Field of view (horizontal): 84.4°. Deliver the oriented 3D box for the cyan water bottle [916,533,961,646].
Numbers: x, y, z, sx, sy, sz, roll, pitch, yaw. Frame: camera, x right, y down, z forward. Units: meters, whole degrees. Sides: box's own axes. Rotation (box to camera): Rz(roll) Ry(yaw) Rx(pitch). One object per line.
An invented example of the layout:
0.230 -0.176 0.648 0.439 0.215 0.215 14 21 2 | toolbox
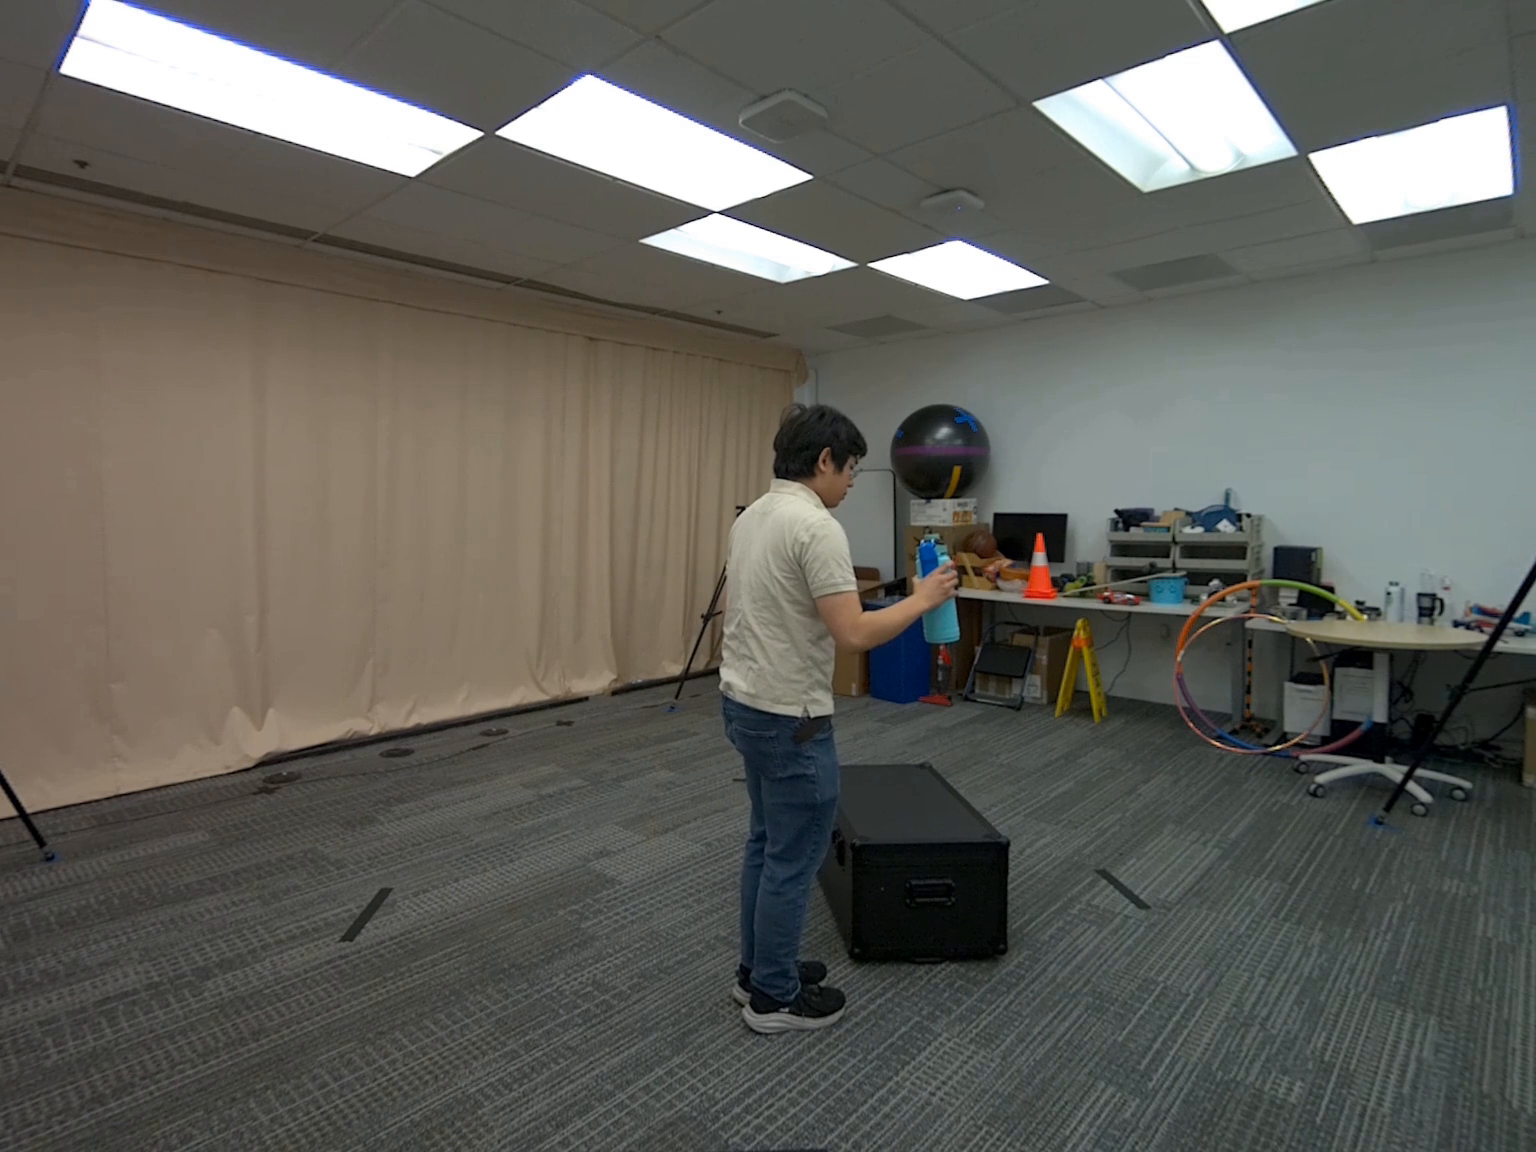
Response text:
0.458 0.035 2.224 0.092 0.282 0.092 -8 4 -1 | cyan water bottle
